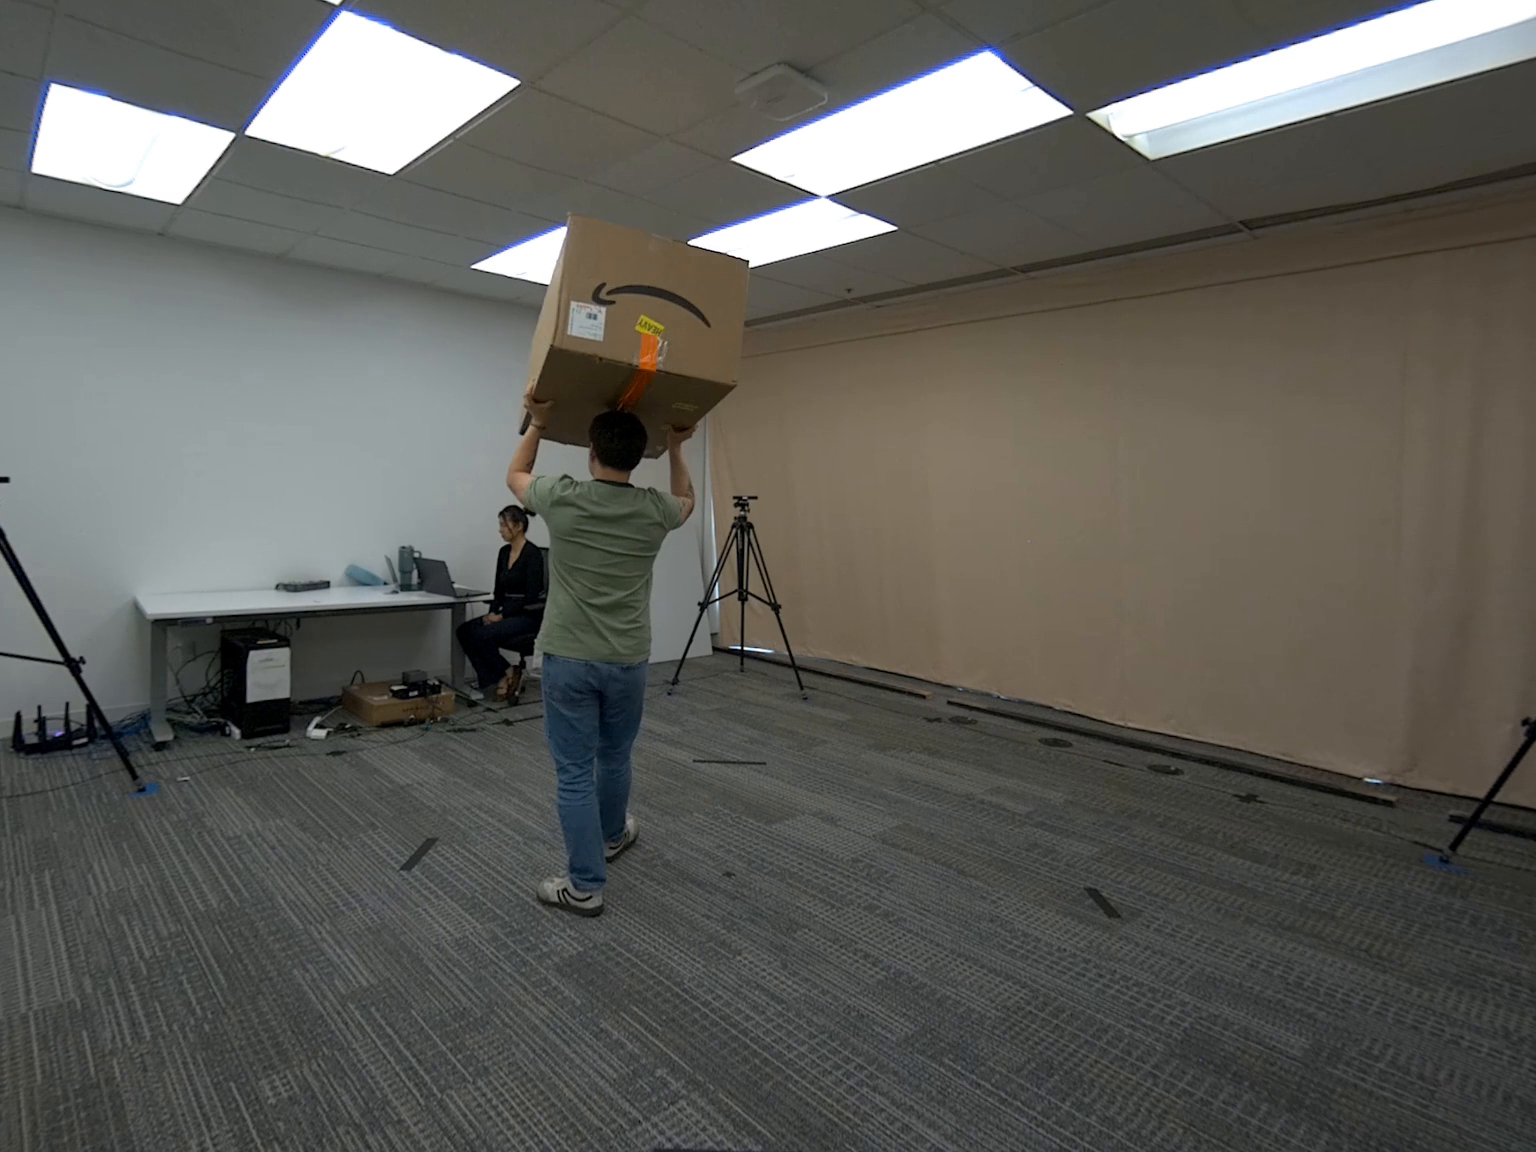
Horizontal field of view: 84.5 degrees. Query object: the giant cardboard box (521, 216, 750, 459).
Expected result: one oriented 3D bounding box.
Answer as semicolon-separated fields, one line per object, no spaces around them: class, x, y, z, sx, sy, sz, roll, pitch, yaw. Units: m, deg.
giant cardboard box;-0.528;-0.779;3.004;0.568;0.429;1.036;8;-9;-19
